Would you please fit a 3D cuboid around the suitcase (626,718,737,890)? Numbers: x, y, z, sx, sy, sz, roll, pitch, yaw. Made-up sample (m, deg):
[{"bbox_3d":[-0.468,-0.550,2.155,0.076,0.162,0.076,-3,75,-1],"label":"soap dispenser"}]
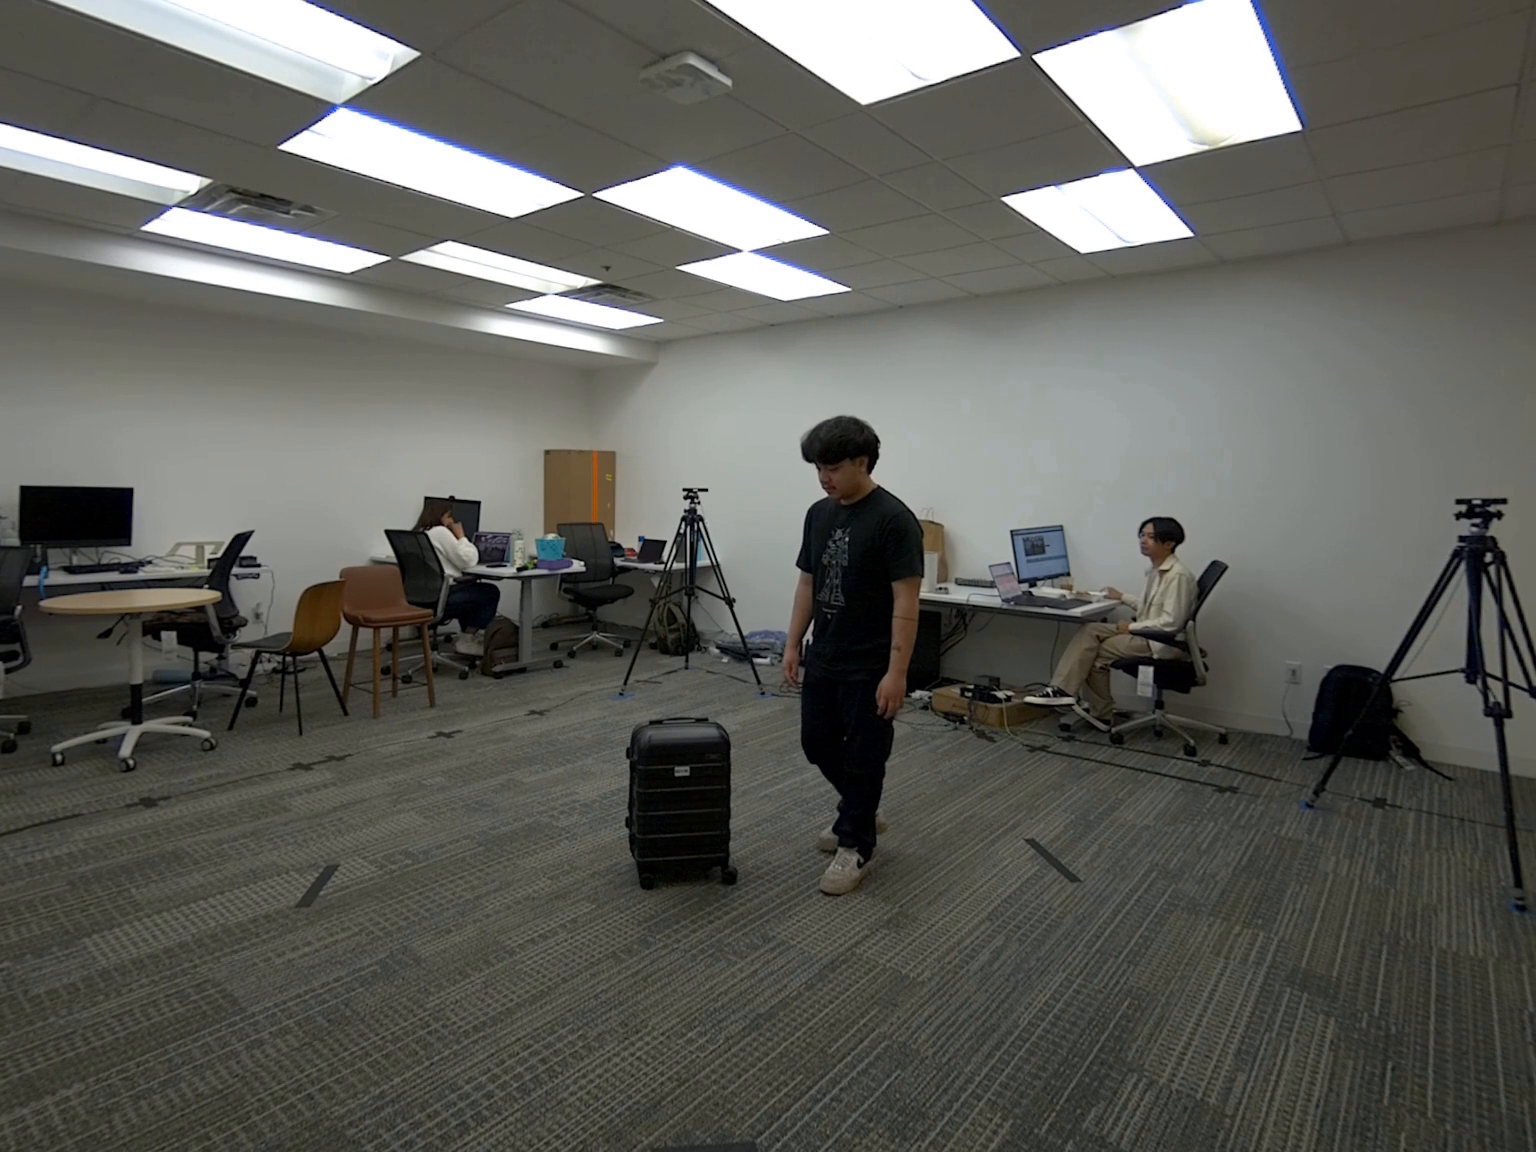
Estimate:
[{"bbox_3d":[-0.329,0.795,3.081,0.370,0.548,0.252,0,2,-13],"label":"suitcase"}]
